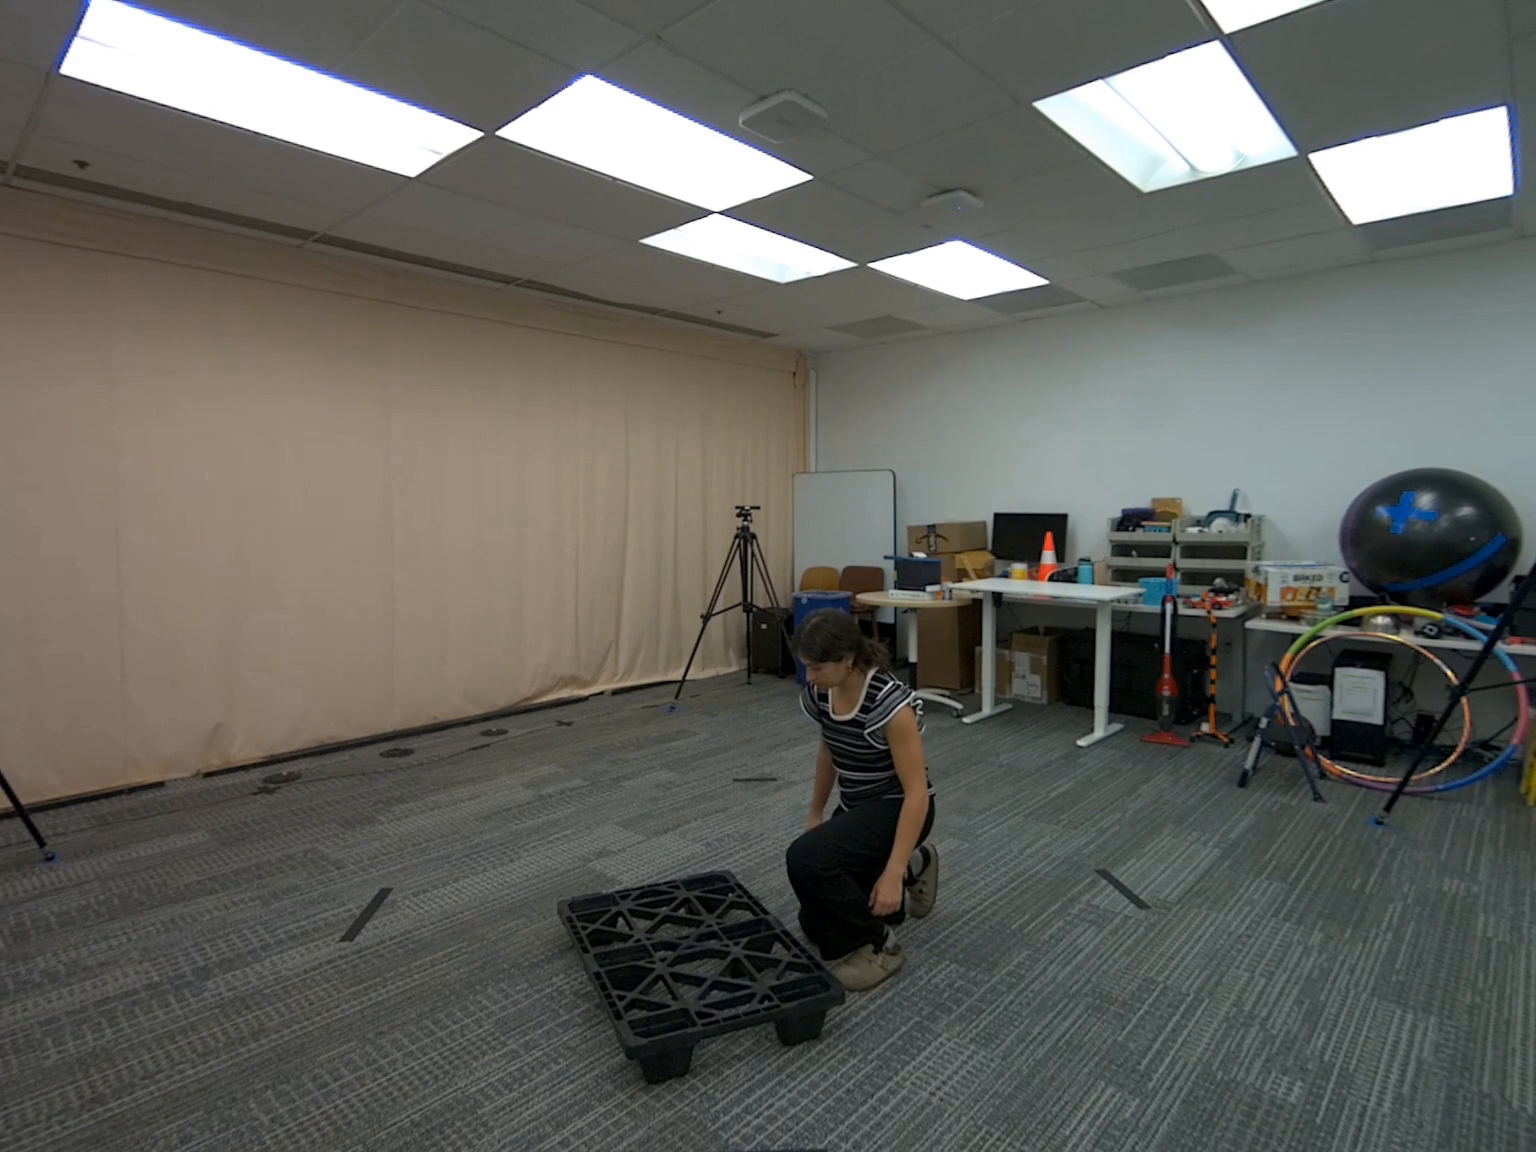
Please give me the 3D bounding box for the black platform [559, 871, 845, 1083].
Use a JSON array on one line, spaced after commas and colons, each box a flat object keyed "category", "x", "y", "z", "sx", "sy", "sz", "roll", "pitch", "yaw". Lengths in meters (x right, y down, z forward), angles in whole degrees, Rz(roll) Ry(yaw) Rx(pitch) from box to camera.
[{"category": "black platform", "x": -0.232, "y": 1.125, "z": 2.439, "sx": 0.591, "sy": 0.143, "sz": 0.826, "roll": -3, "pitch": 5, "yaw": -24}]
